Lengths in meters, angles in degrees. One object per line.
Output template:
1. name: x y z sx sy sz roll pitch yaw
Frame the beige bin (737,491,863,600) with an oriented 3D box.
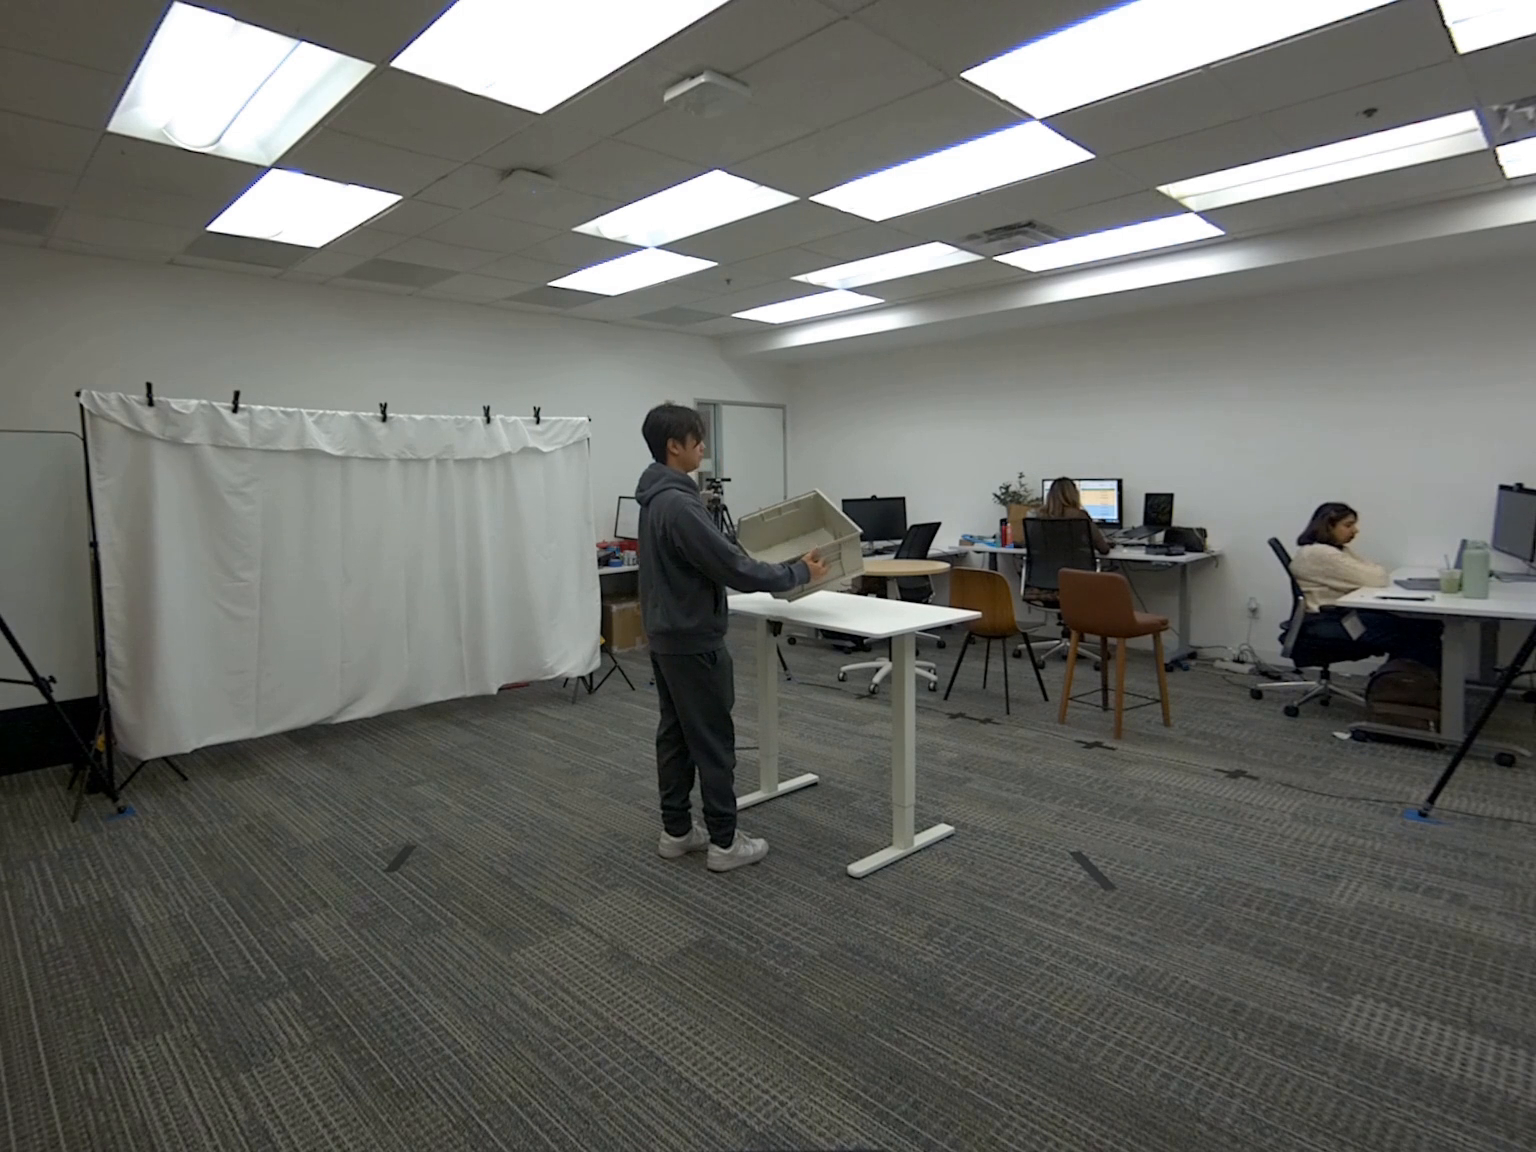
1. beige bin: 0.116 -0.119 3.251 0.375 0.184 0.437 -21 30 -10
